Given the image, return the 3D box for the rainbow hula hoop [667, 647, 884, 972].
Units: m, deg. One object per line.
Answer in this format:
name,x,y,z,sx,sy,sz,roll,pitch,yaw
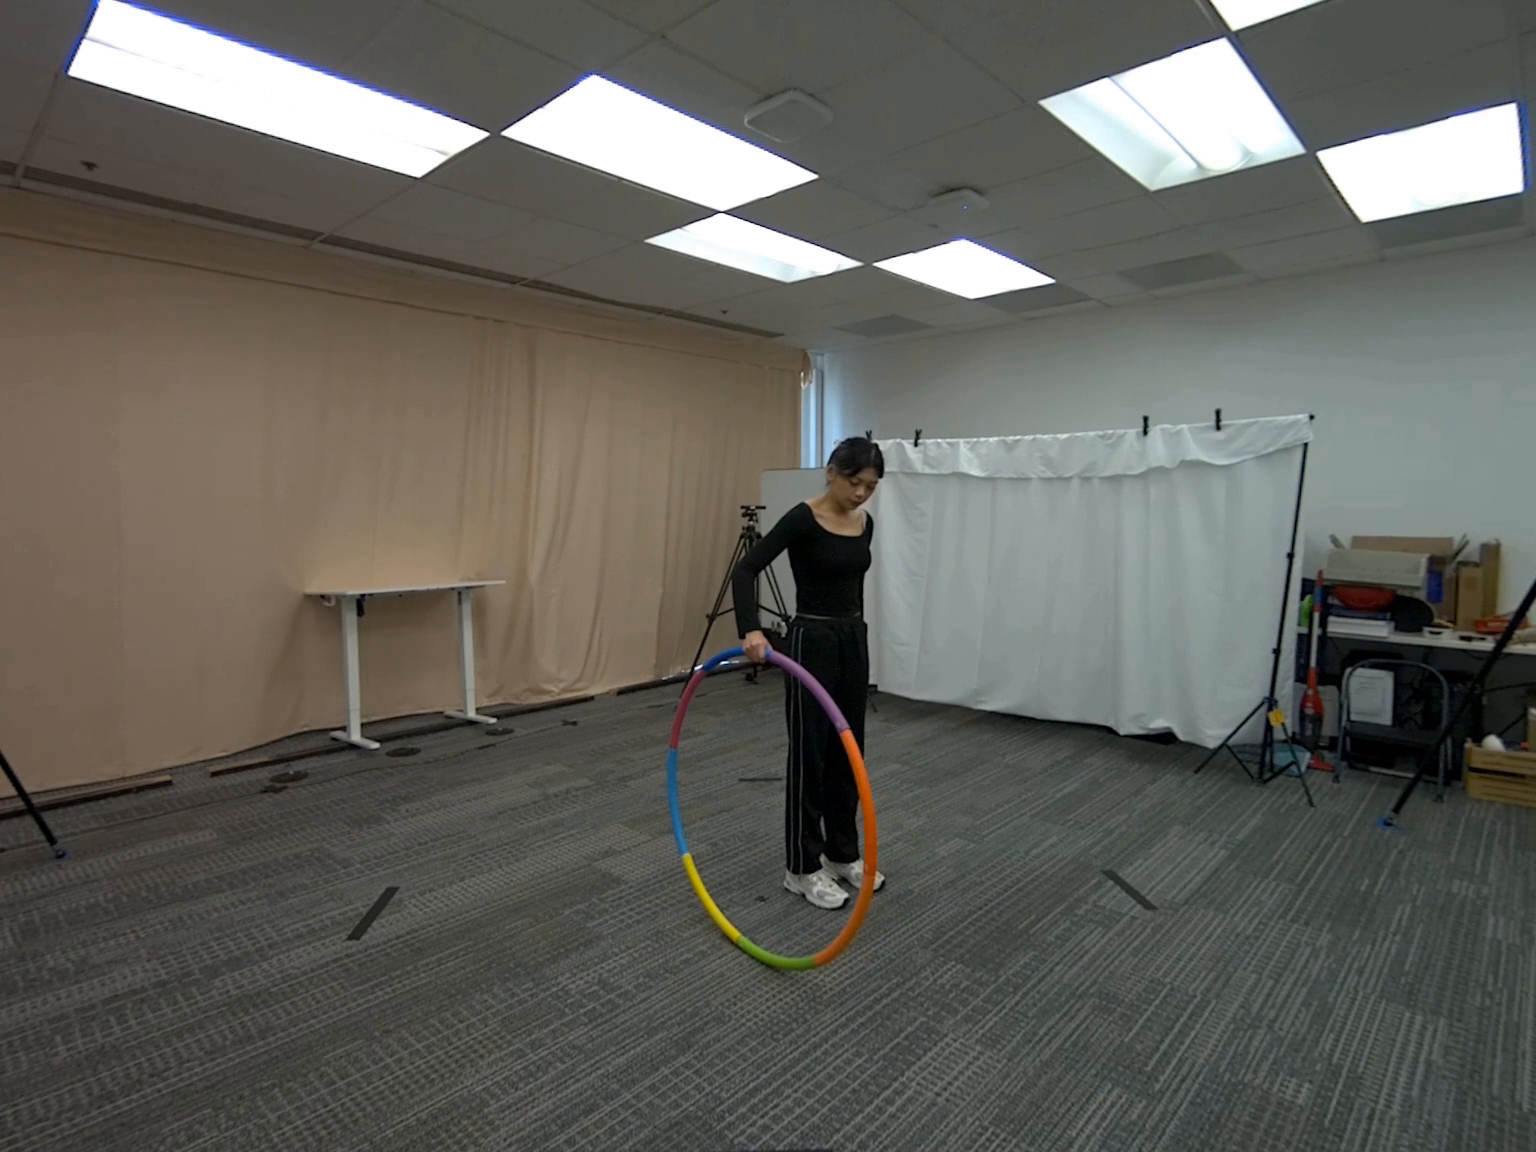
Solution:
rainbow hula hoop,-0.029,0.696,2.618,0.034,0.978,1.010,3,1,-37
